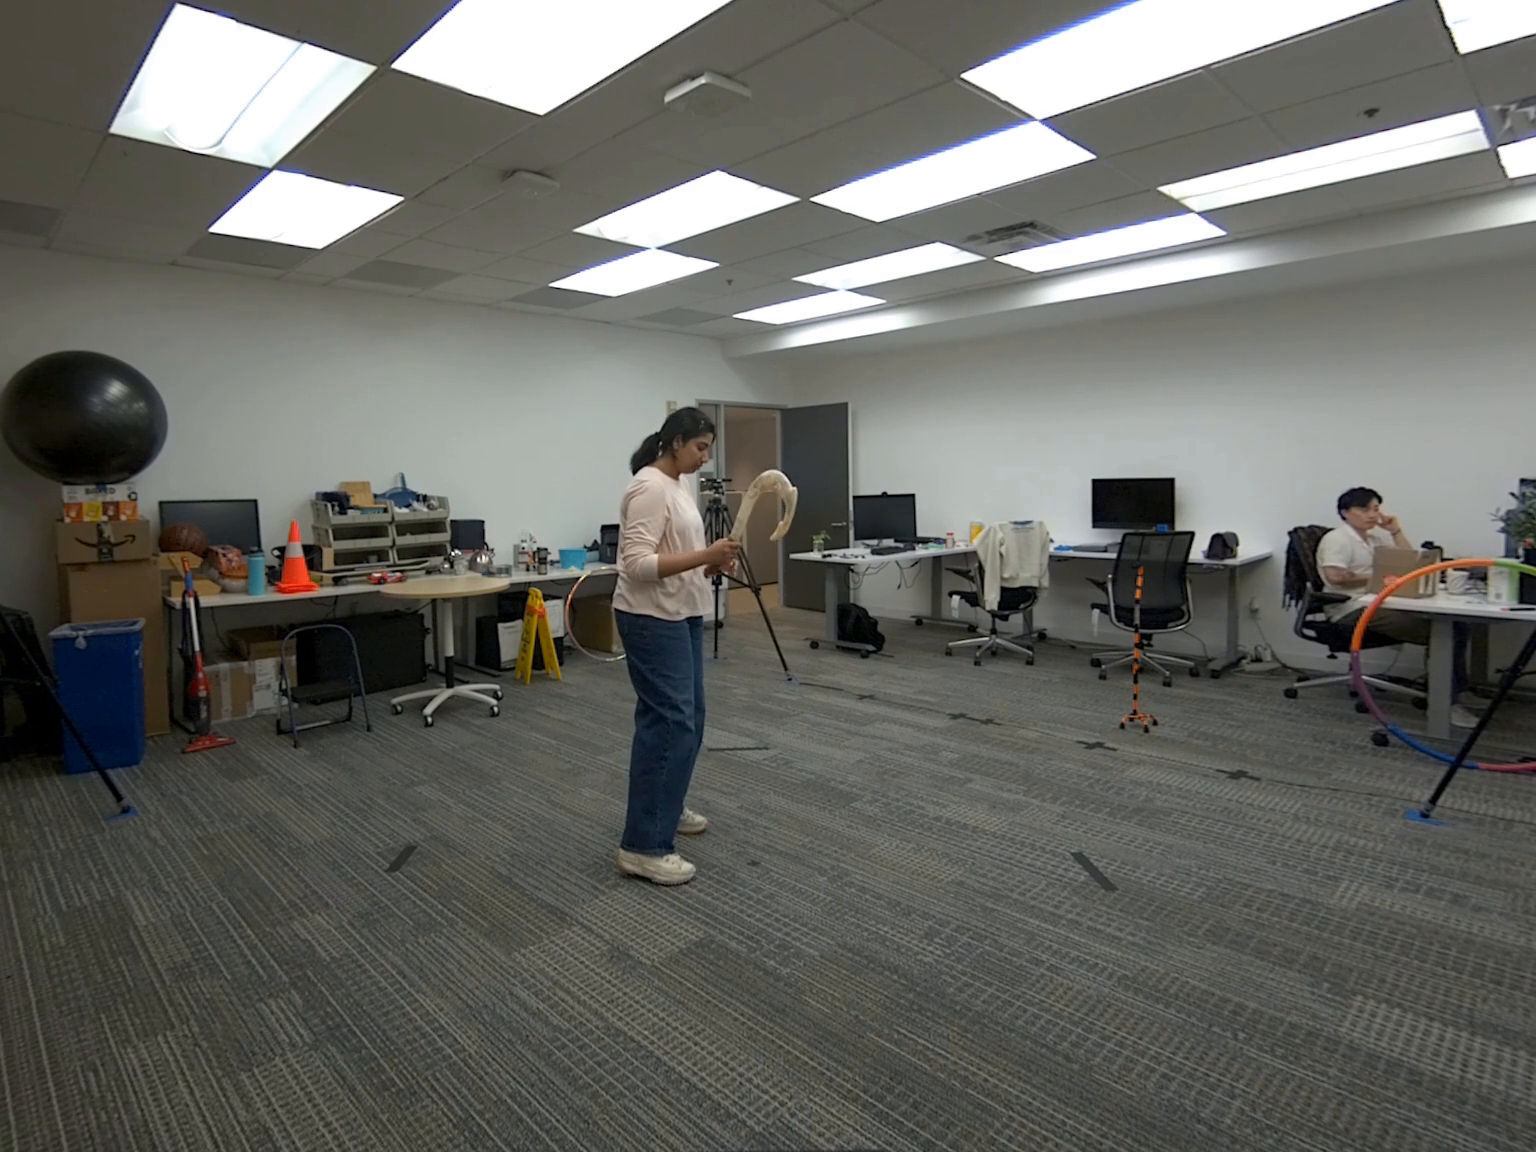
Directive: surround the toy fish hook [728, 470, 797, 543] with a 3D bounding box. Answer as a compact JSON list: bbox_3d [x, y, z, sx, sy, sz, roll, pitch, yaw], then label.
[{"bbox_3d":[-0.063,-0.137,3.003,0.047,0.504,0.233,5,40,-45],"label":"toy fish hook"}]
